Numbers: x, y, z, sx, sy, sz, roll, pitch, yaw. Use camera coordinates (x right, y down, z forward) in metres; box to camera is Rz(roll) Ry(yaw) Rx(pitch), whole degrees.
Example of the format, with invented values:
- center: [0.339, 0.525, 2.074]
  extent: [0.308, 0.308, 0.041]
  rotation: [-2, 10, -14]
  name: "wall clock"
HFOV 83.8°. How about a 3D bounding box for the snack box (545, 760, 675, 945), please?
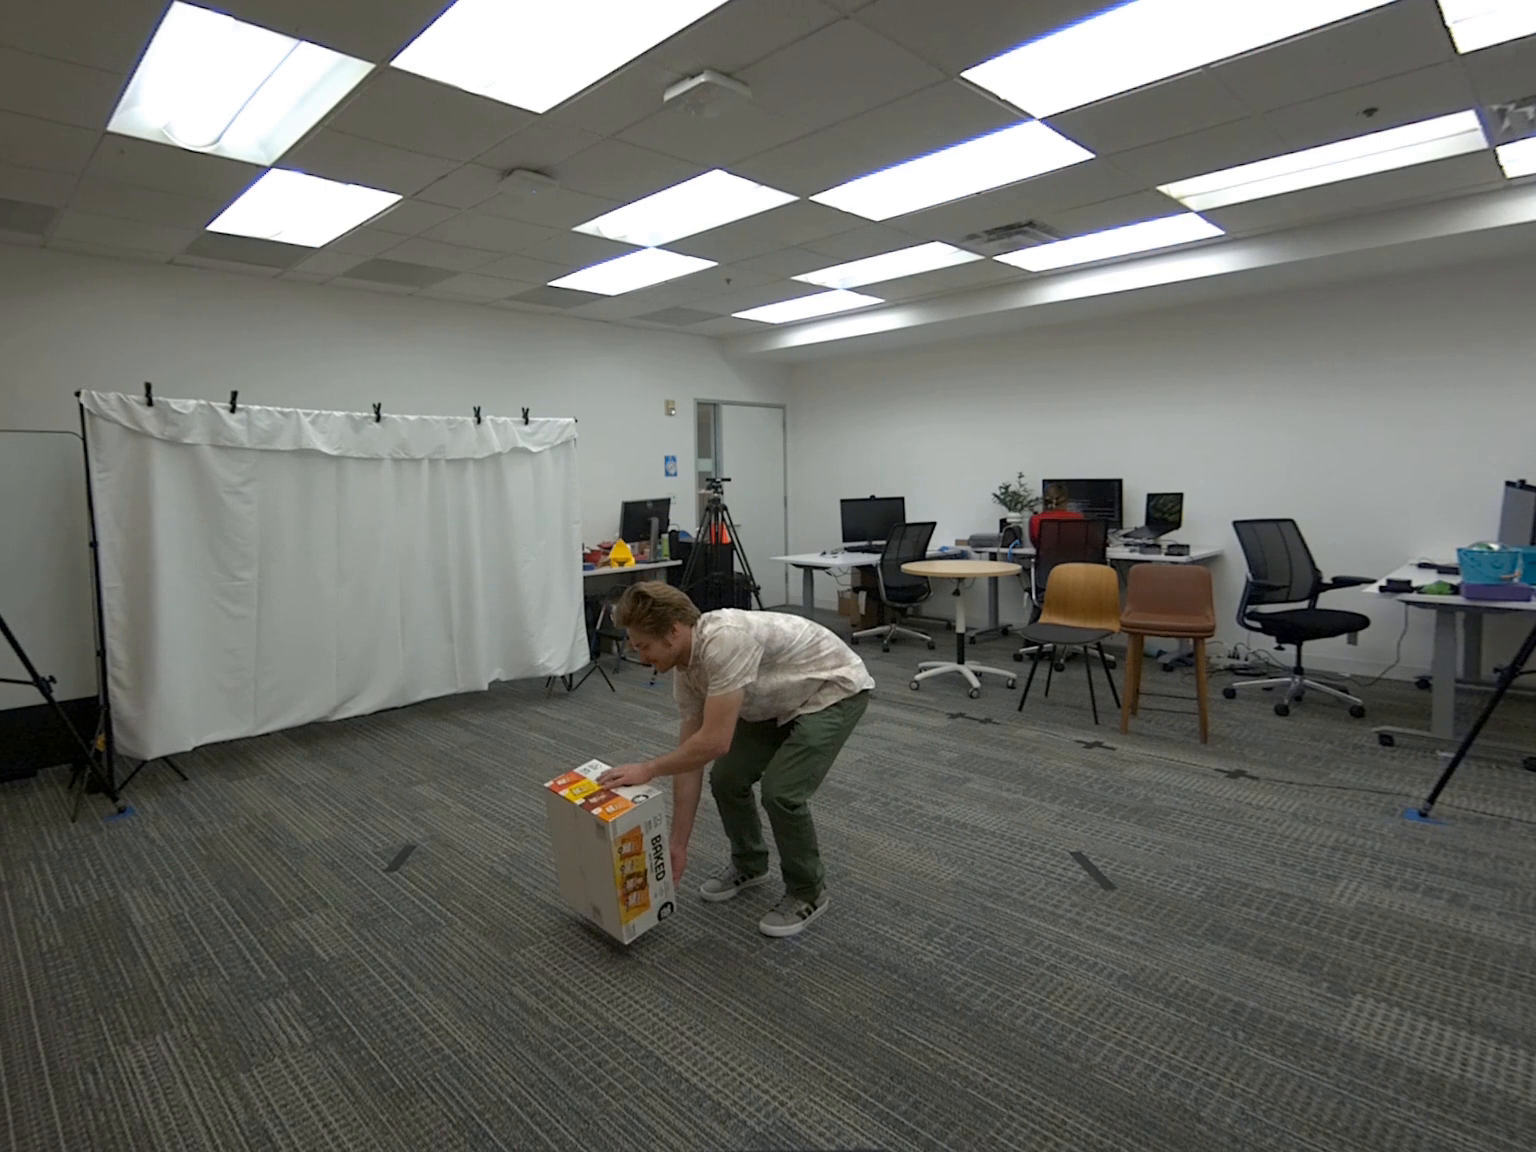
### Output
- center: [-0.484, 0.828, 2.610]
  extent: [0.351, 0.400, 0.202]
  rotation: [9, 19, 44]
  name: "snack box"
